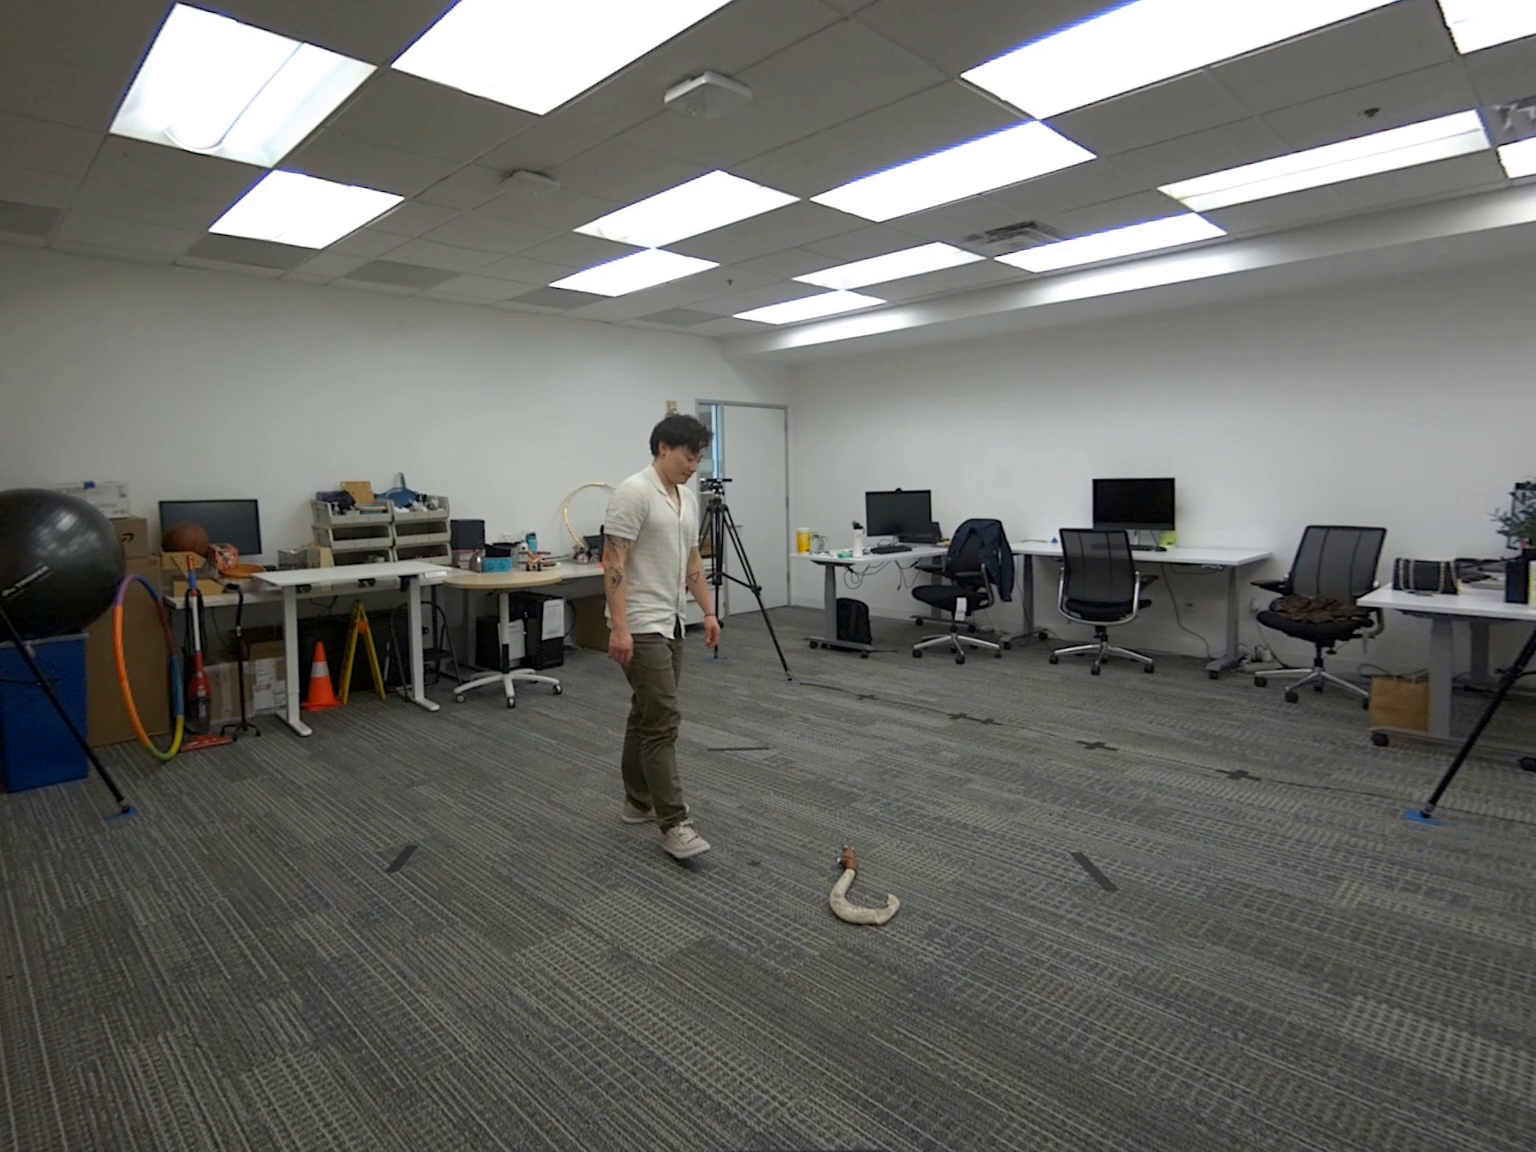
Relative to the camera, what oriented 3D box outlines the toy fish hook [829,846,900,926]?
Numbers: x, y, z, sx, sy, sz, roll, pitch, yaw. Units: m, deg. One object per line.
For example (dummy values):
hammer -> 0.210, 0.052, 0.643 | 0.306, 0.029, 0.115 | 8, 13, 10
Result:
toy fish hook -> 0.327, 1.040, 2.909 | 0.226, 0.048, 0.505 | 7, 8, 6
